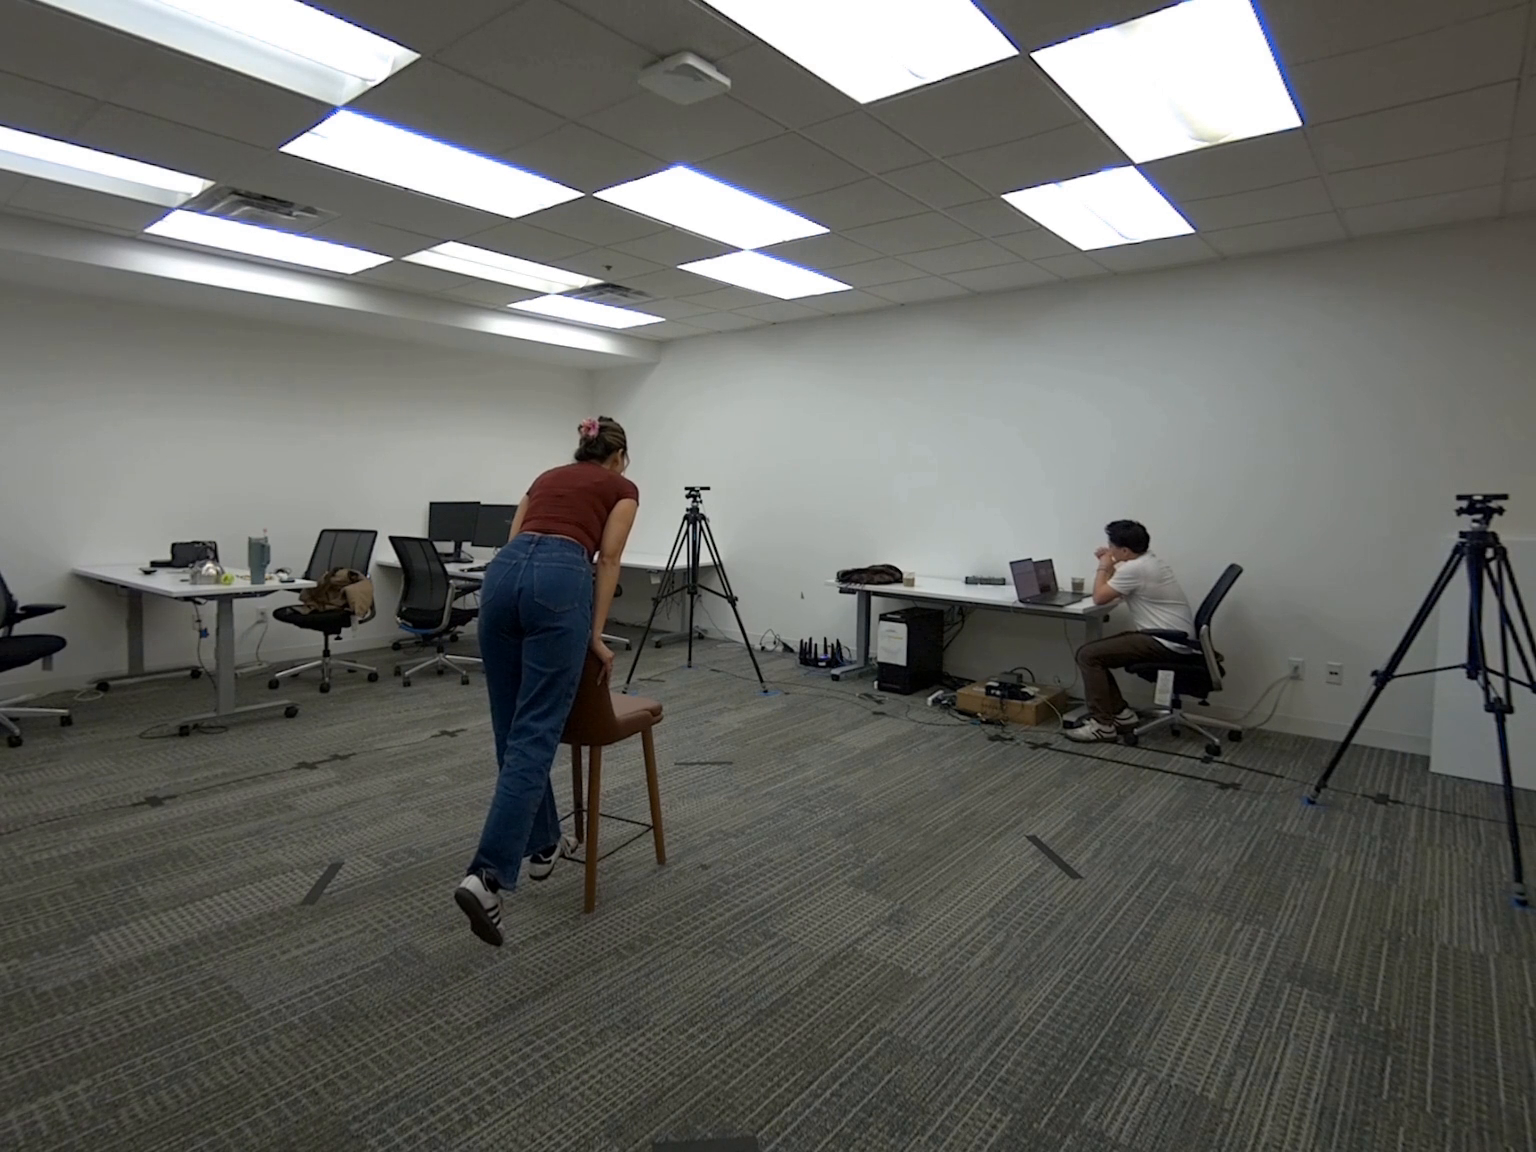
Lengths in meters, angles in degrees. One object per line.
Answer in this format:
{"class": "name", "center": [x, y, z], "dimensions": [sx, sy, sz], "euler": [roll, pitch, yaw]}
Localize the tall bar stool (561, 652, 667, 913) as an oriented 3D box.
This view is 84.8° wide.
{"class": "tall bar stool", "center": [-0.661, 0.631, 3.016], "dimensions": [0.469, 0.886, 0.457], "euler": [2, 6, 27]}
